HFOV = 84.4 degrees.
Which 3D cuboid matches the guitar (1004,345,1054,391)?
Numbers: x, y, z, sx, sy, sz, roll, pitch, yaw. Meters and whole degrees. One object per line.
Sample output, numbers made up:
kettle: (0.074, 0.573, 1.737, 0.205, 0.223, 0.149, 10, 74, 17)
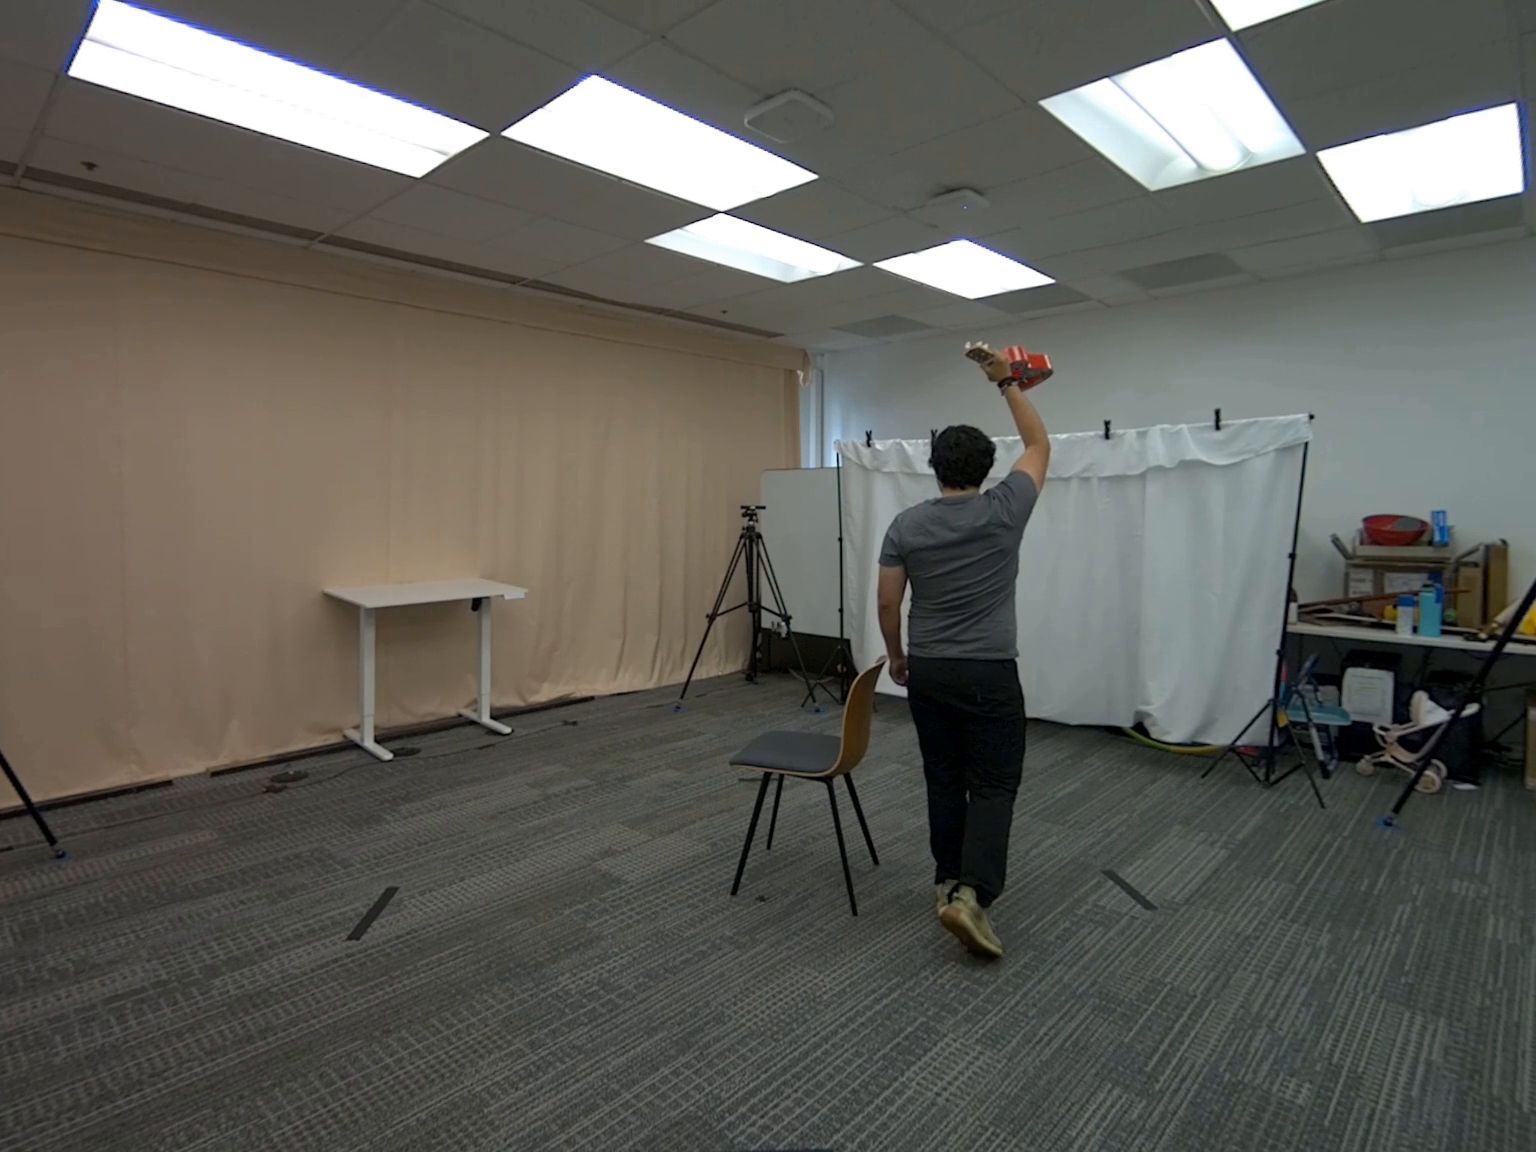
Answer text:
guitar: (0.847, -0.745, 2.902, 0.197, 0.072, 0.481, -21, -19, 28)
